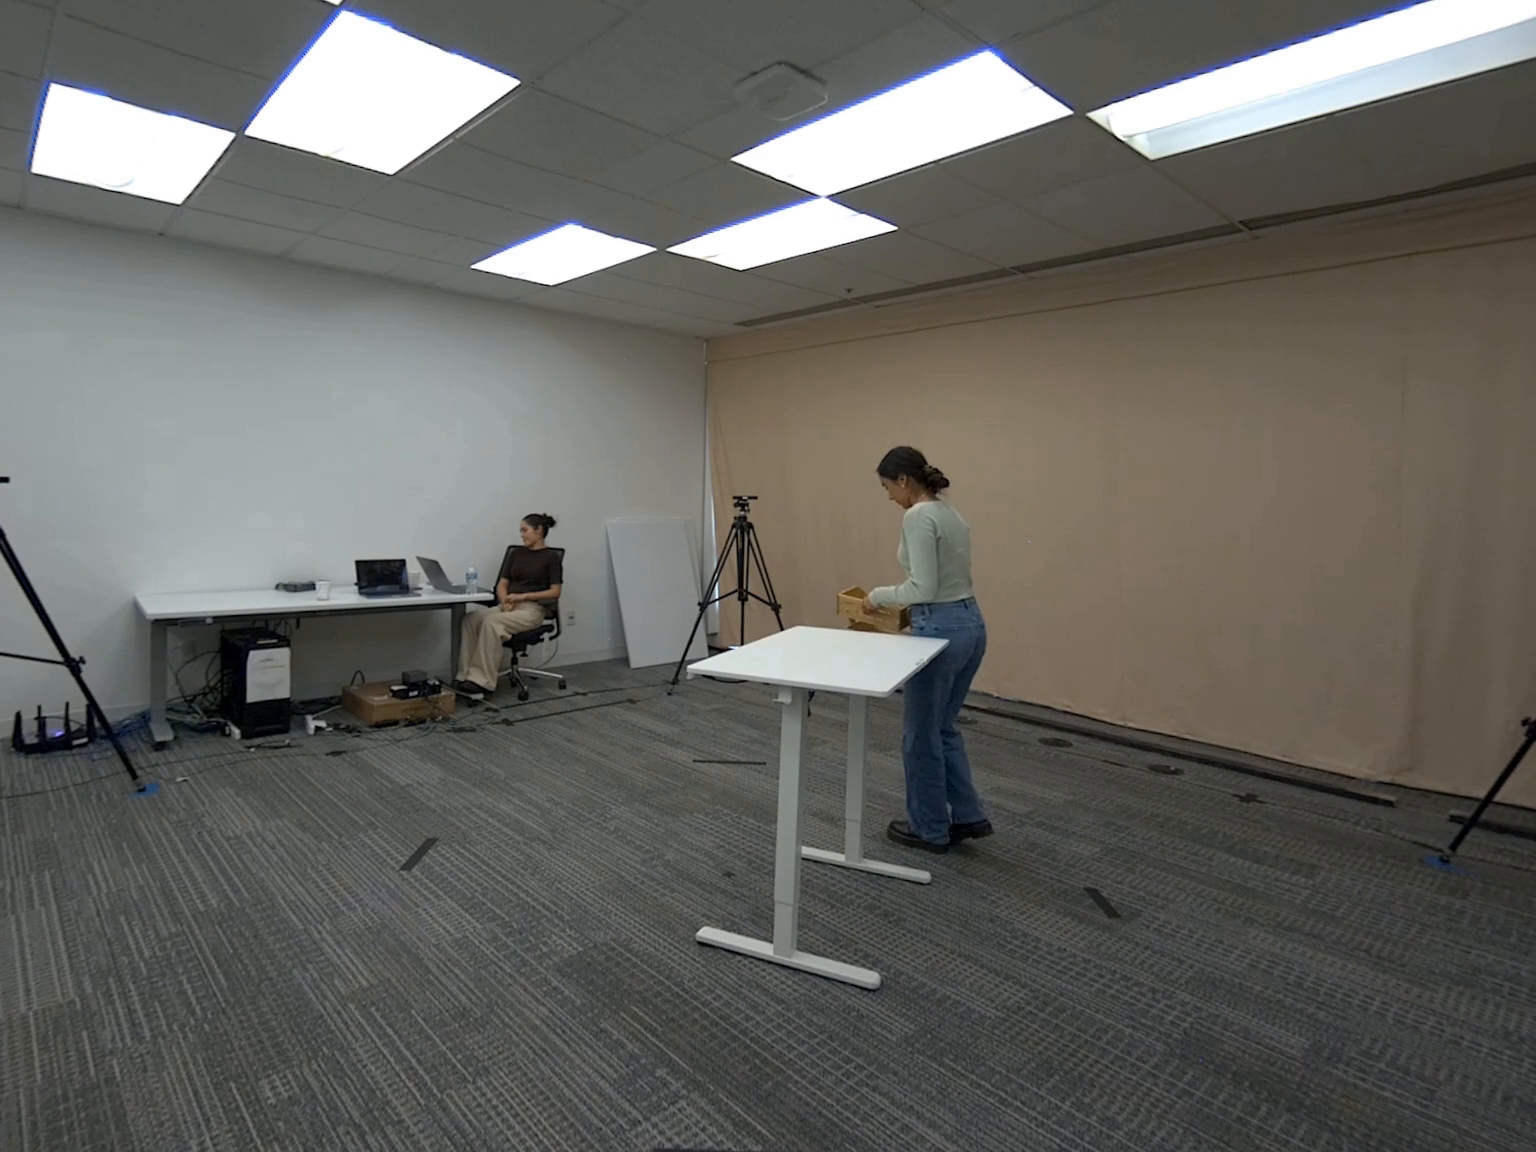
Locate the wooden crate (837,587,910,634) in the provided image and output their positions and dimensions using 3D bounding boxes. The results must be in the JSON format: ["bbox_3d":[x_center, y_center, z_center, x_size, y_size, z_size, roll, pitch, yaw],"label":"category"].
[{"bbox_3d":[0.496,0.191,3.603,0.333,0.270,0.297,14,21,37],"label":"wooden crate"}]
